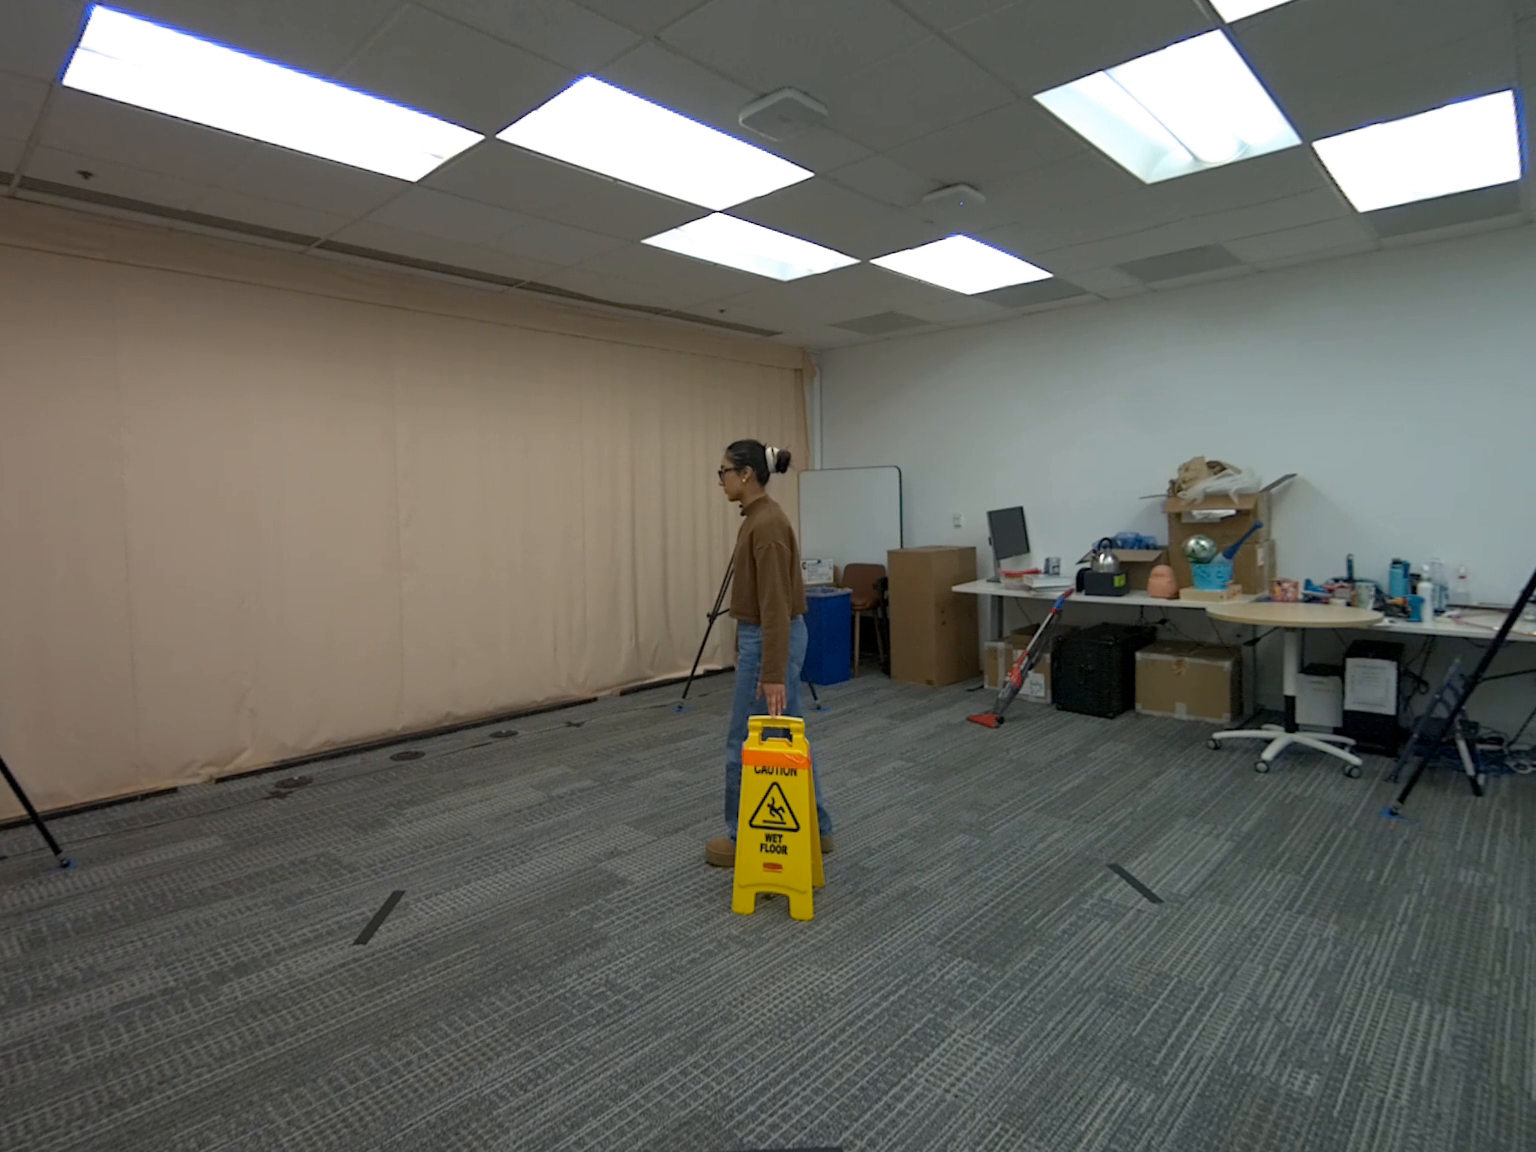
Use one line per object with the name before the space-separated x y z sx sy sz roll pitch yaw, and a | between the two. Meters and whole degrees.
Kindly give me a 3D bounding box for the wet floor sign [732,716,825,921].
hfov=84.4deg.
wet floor sign | 0.040 0.811 2.966 0.287 0.645 0.286 1 3 13
